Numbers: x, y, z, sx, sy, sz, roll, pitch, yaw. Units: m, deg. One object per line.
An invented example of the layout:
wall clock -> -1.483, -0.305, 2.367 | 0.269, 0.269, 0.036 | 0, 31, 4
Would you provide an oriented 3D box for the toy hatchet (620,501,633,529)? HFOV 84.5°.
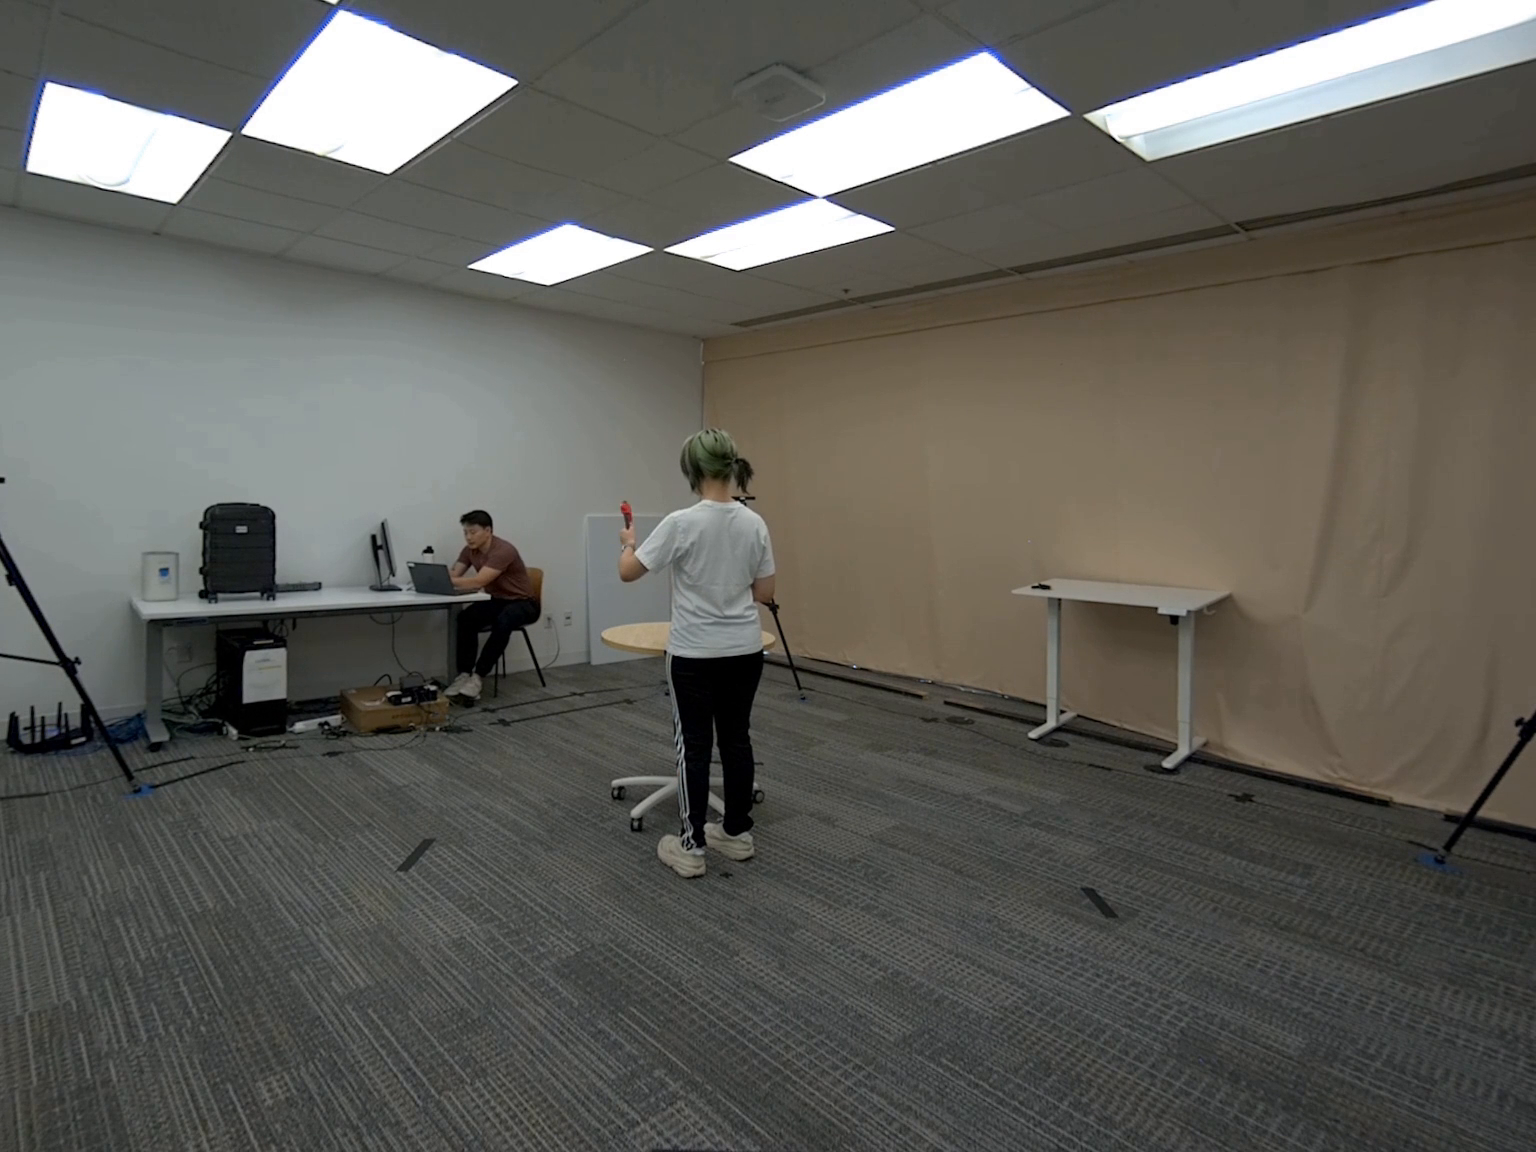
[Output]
toy hatchet -> -0.565, -0.168, 3.400 | 0.029, 0.267, 0.132 | -10, 11, 0
